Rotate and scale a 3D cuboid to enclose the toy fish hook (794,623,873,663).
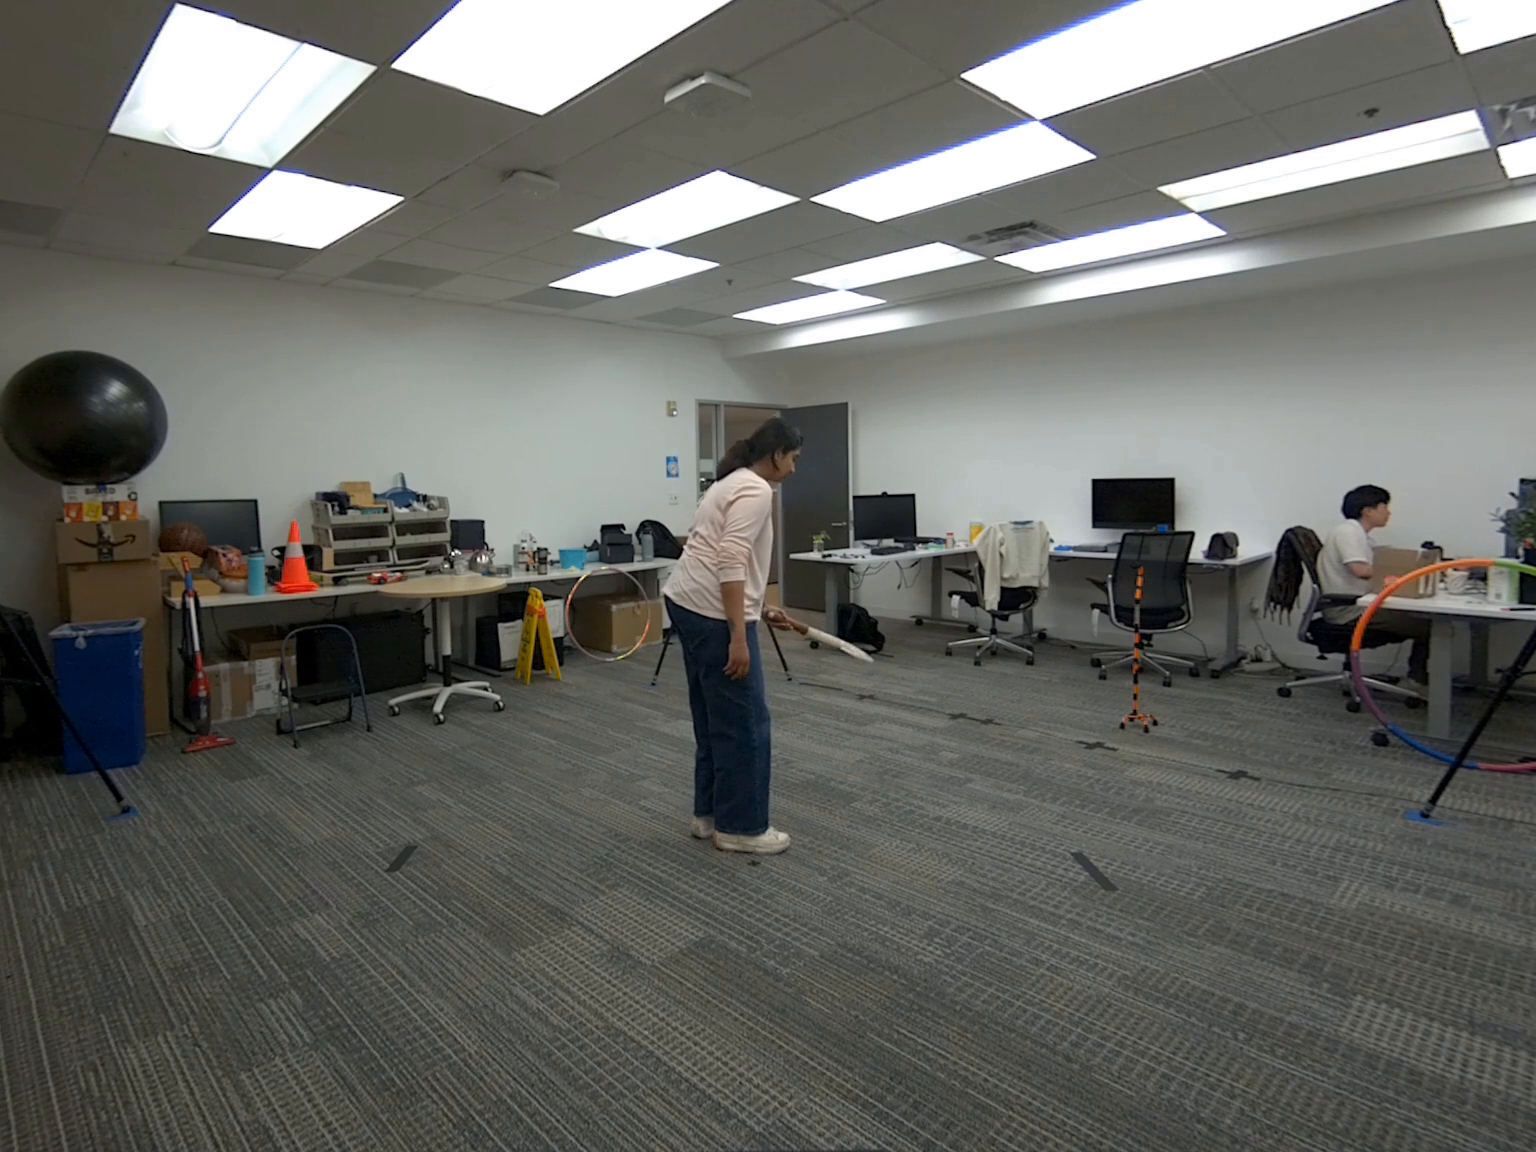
[{"bbox_3d":[0.219,0.262,3.547,0.493,0.048,0.230,24,-2,-23],"label":"toy fish hook"}]
